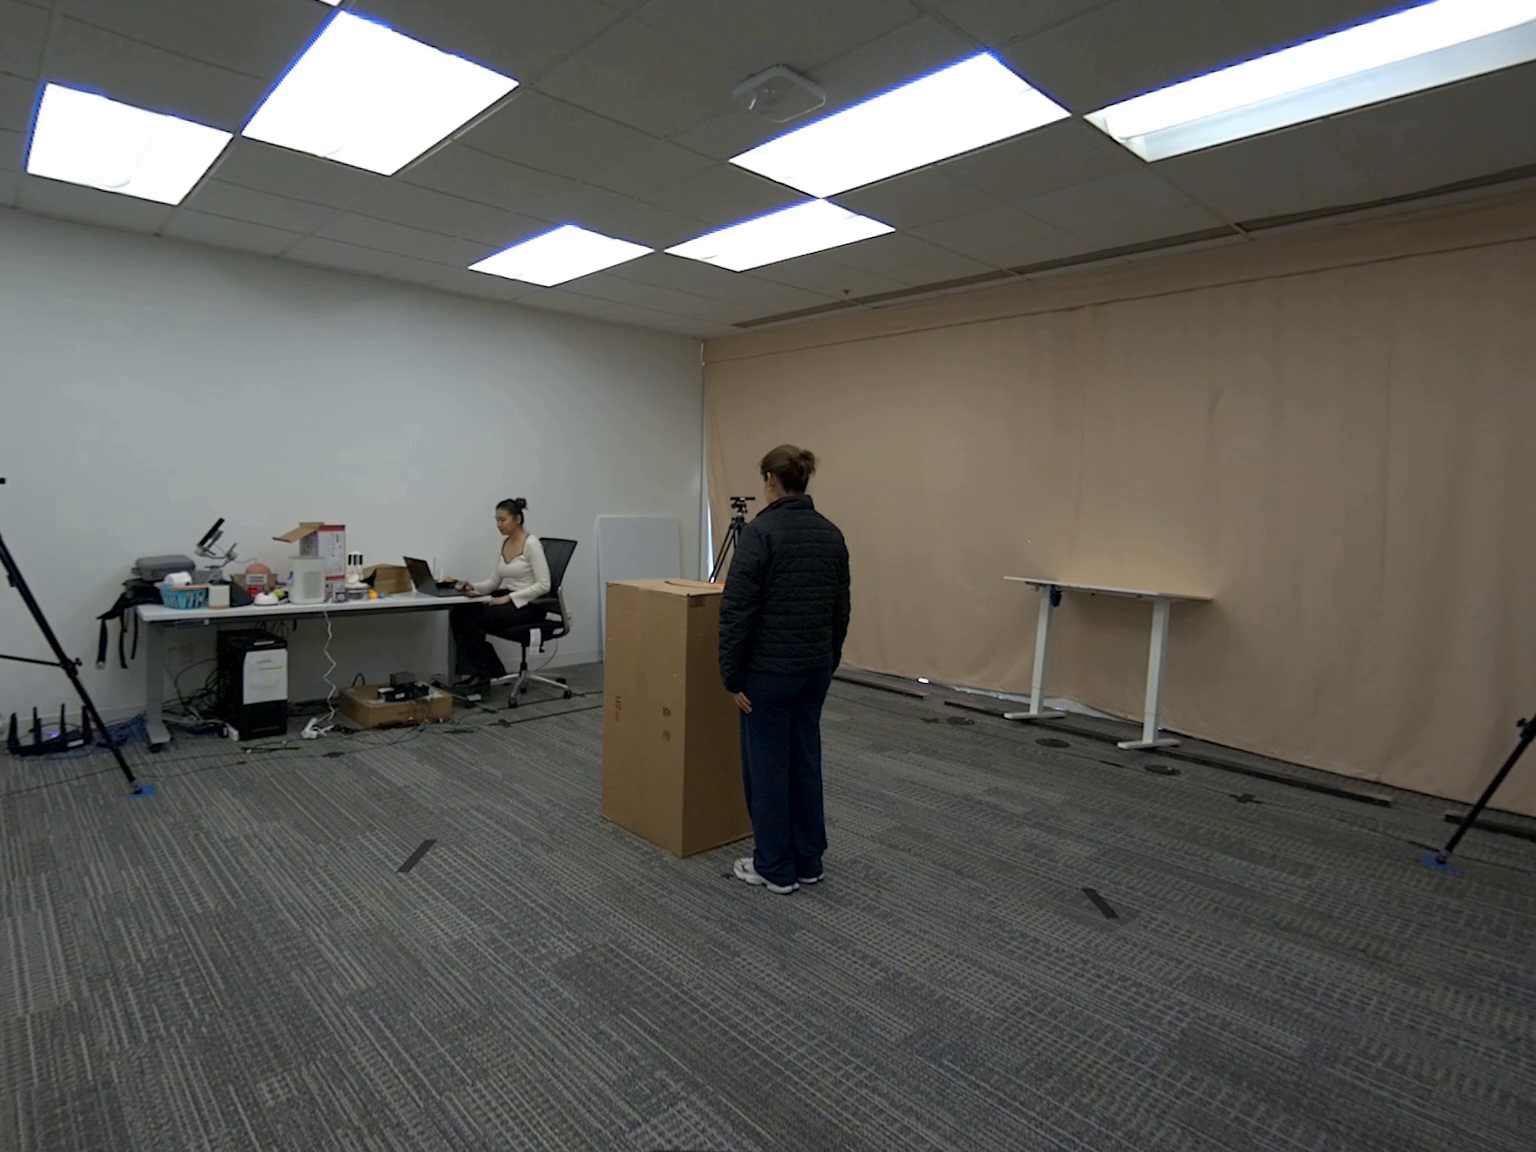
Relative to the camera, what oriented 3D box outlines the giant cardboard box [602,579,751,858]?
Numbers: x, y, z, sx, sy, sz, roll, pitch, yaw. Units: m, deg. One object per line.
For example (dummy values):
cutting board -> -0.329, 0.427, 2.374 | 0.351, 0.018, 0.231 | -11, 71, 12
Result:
giant cardboard box -> -0.371, 0.553, 3.558 | 0.416, 1.023, 0.592 | -1, 4, -43
